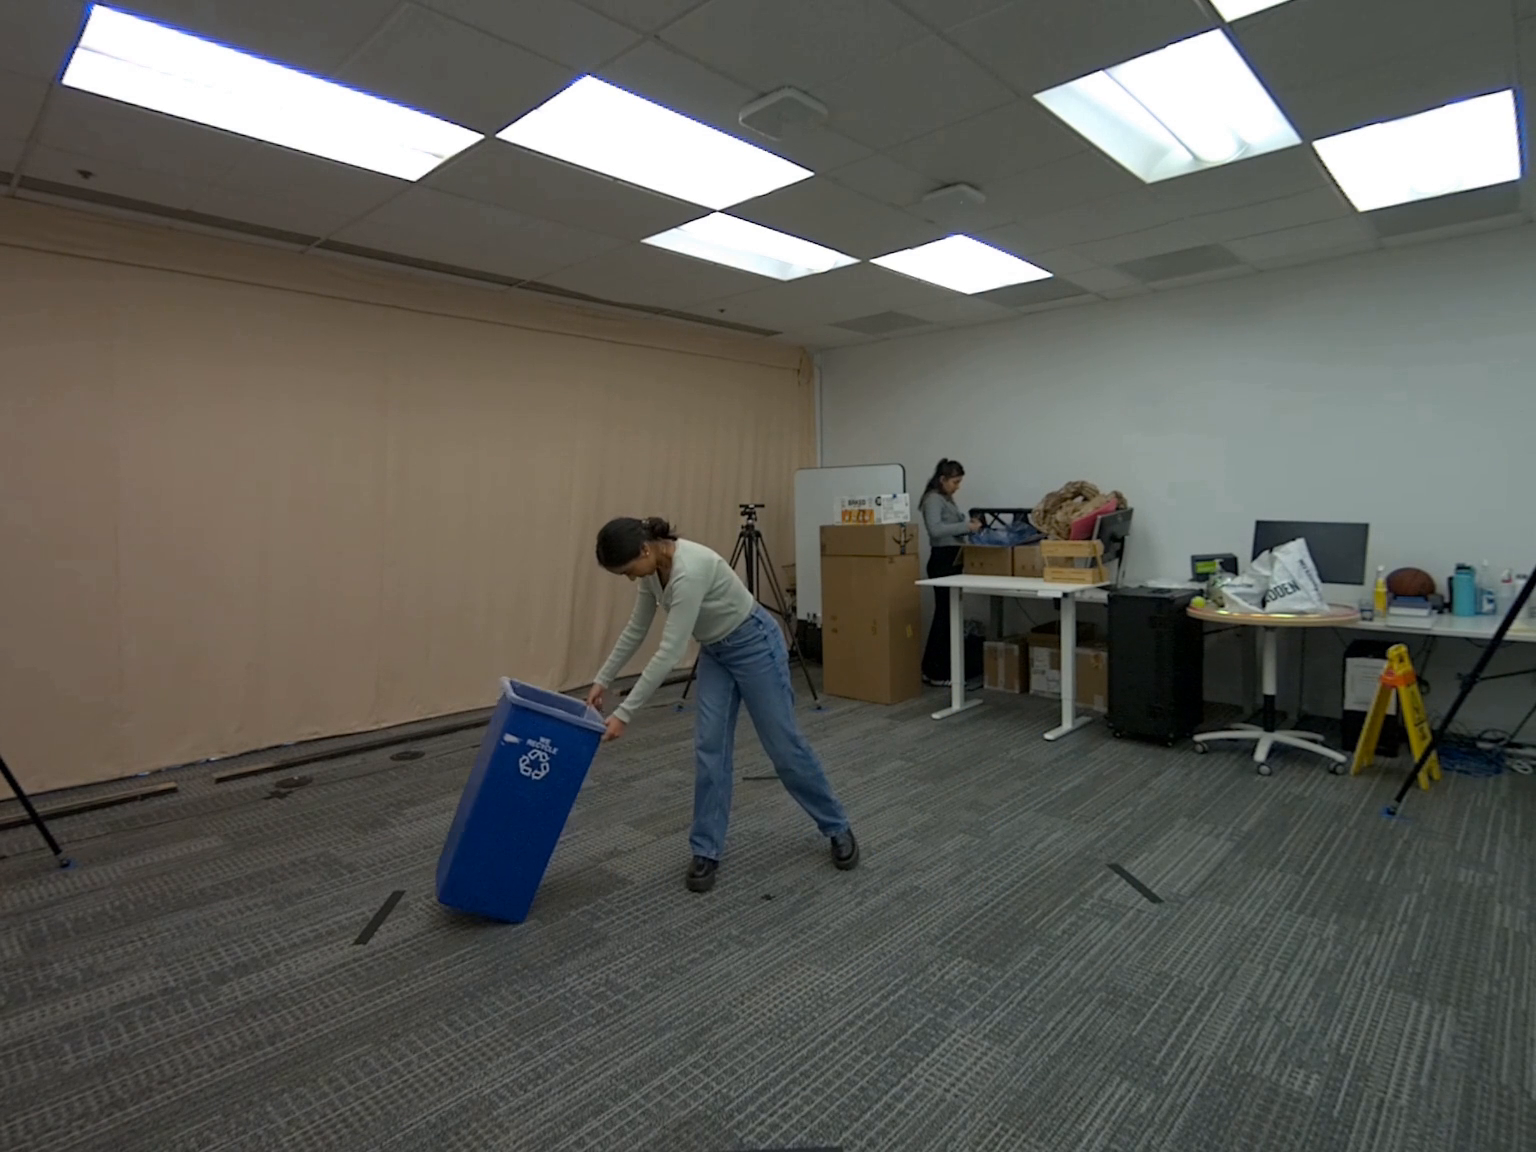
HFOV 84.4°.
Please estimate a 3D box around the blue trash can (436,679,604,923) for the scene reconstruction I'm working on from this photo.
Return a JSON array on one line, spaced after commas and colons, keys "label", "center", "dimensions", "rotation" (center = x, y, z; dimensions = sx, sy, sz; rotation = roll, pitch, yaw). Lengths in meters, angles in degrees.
[{"label": "blue trash can", "center": [-0.859, 0.777, 2.965], "dimensions": [0.365, 0.714, 0.387], "rotation": [23, -4, -22]}]
